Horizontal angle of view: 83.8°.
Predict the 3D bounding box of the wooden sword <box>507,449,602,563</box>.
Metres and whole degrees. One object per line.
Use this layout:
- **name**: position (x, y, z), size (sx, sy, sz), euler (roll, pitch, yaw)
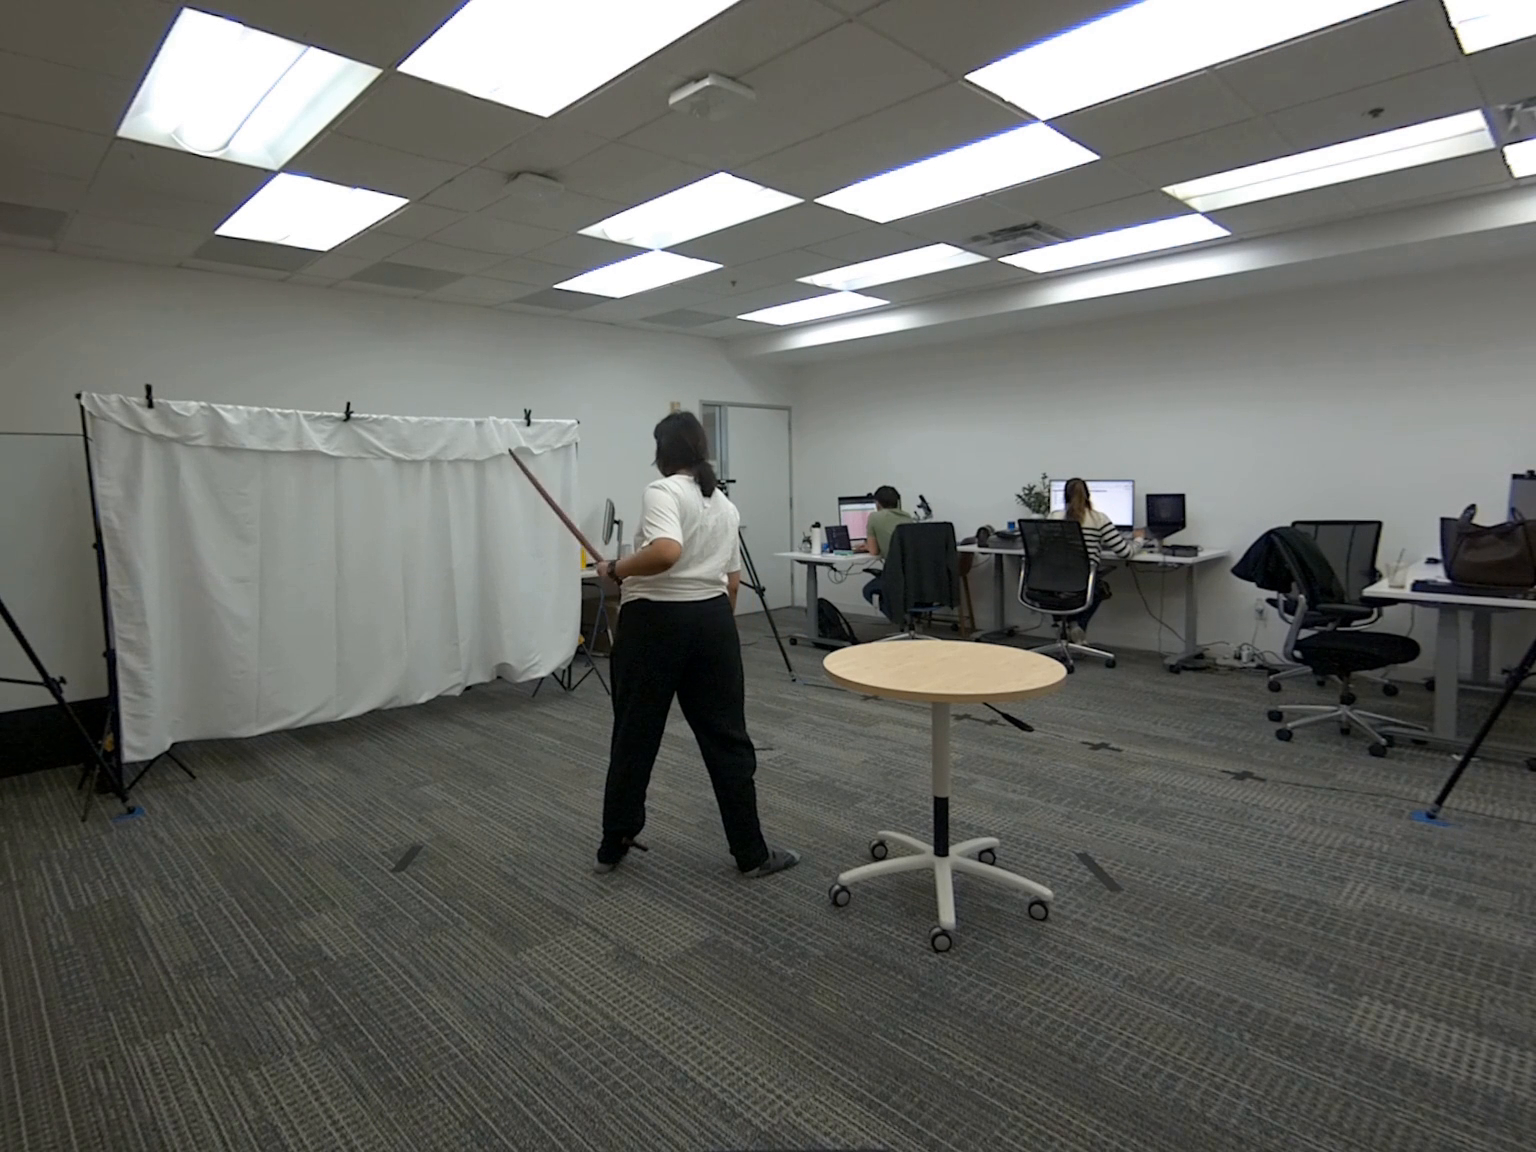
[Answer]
- **wooden sword**: position (-0.802, -0.253, 3.296), size (1.066, 0.051, 0.023), euler (45, -5, 42)
